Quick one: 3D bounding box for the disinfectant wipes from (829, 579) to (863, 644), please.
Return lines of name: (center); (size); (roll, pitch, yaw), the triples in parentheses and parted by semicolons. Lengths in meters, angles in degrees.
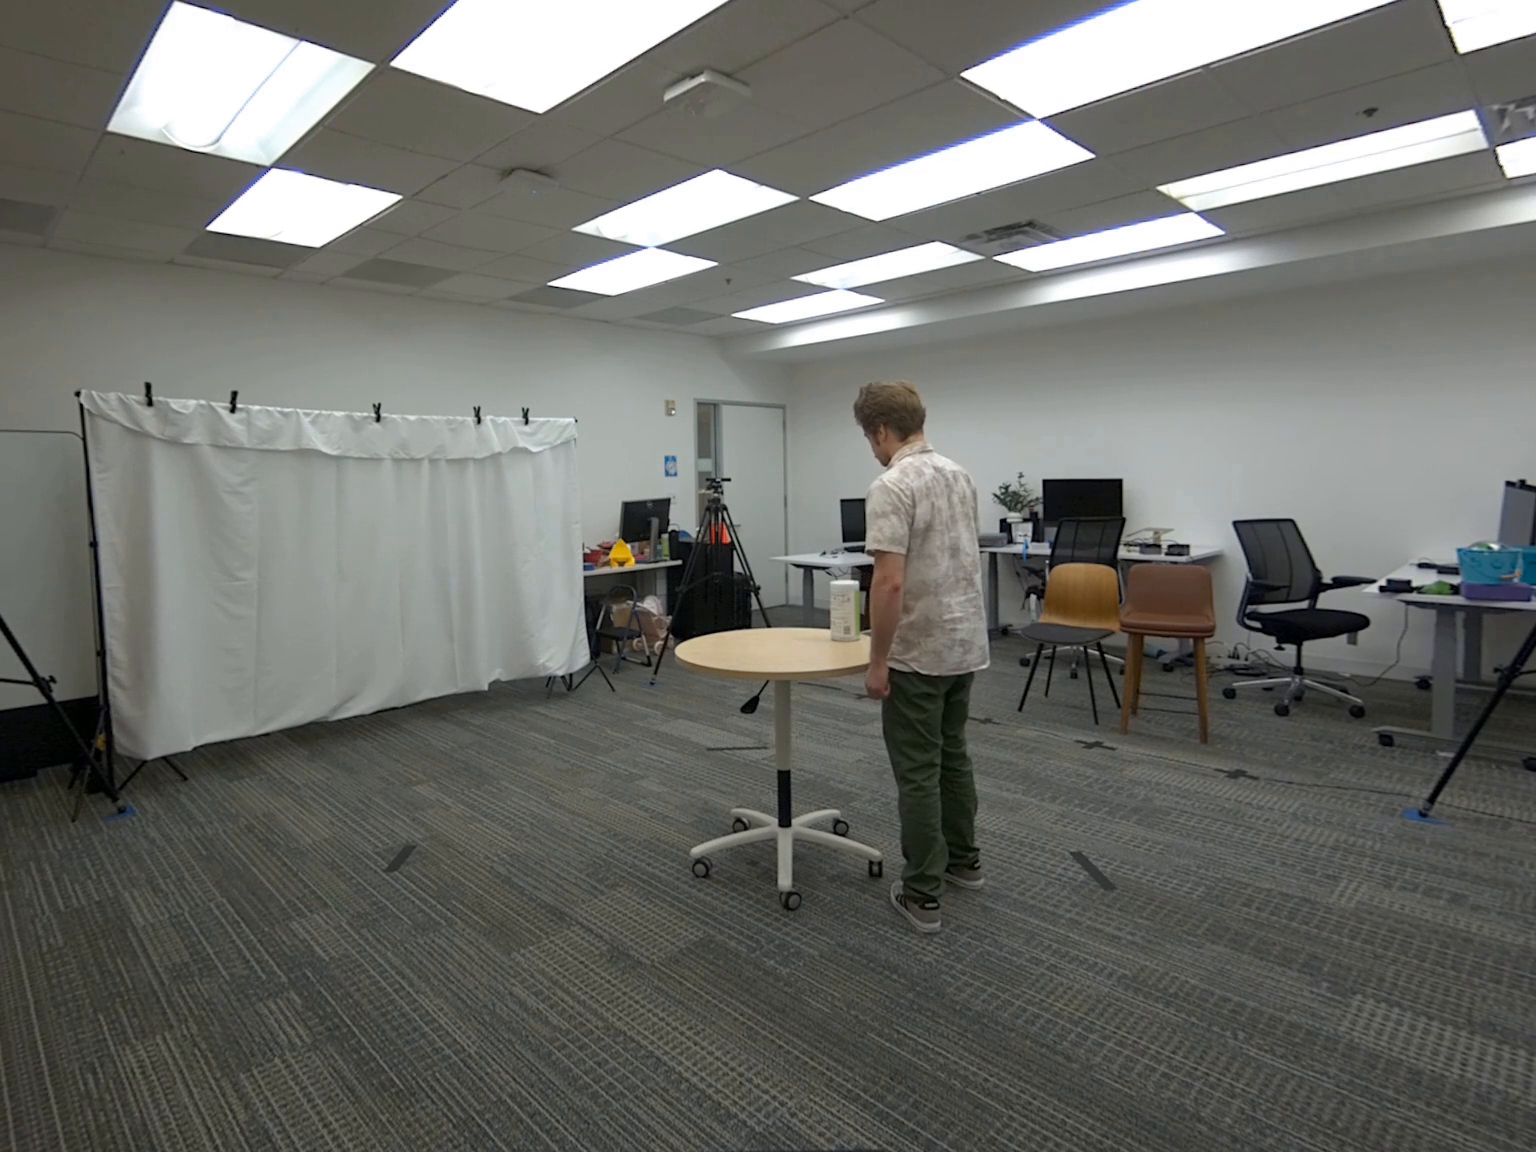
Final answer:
disinfectant wipes: (0.285, 0.128, 3.167); (0.118, 0.217, 0.118); (-2, 3, -2)
